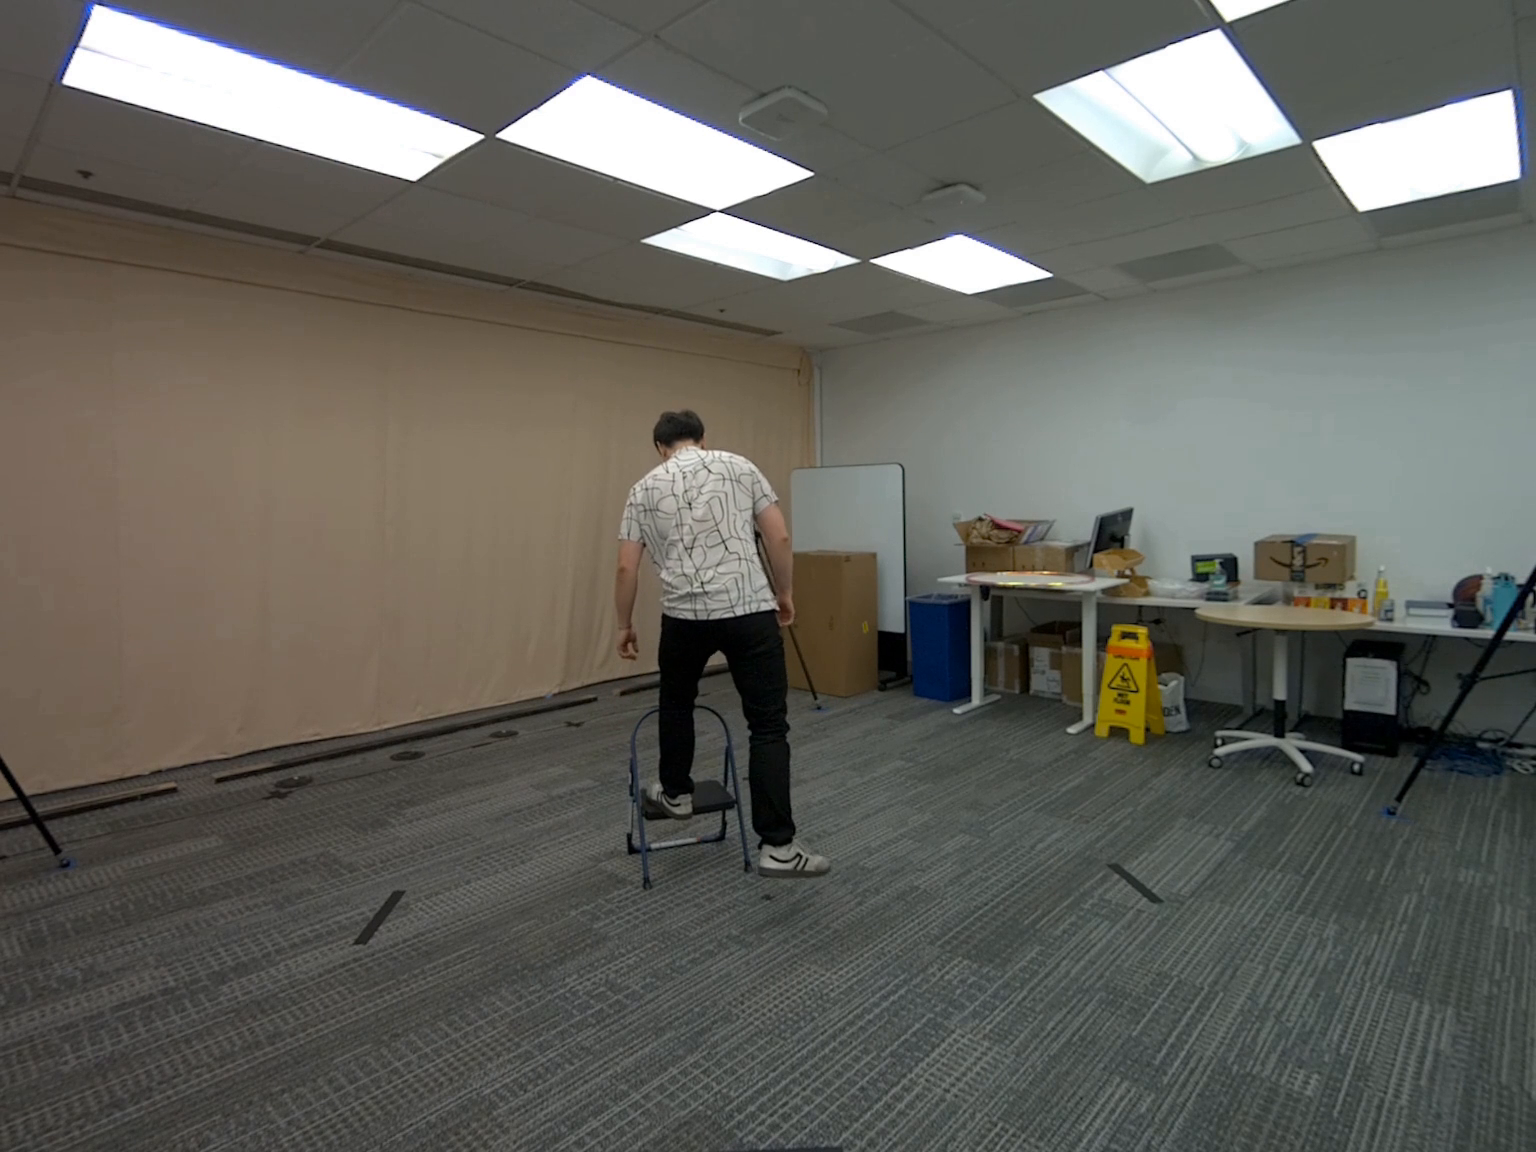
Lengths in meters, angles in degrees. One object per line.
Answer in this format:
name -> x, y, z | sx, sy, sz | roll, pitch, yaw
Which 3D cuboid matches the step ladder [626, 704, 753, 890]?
step ladder -> -0.322, 0.819, 3.286 | 0.422, 0.605, 0.357 | -2, 3, -20
